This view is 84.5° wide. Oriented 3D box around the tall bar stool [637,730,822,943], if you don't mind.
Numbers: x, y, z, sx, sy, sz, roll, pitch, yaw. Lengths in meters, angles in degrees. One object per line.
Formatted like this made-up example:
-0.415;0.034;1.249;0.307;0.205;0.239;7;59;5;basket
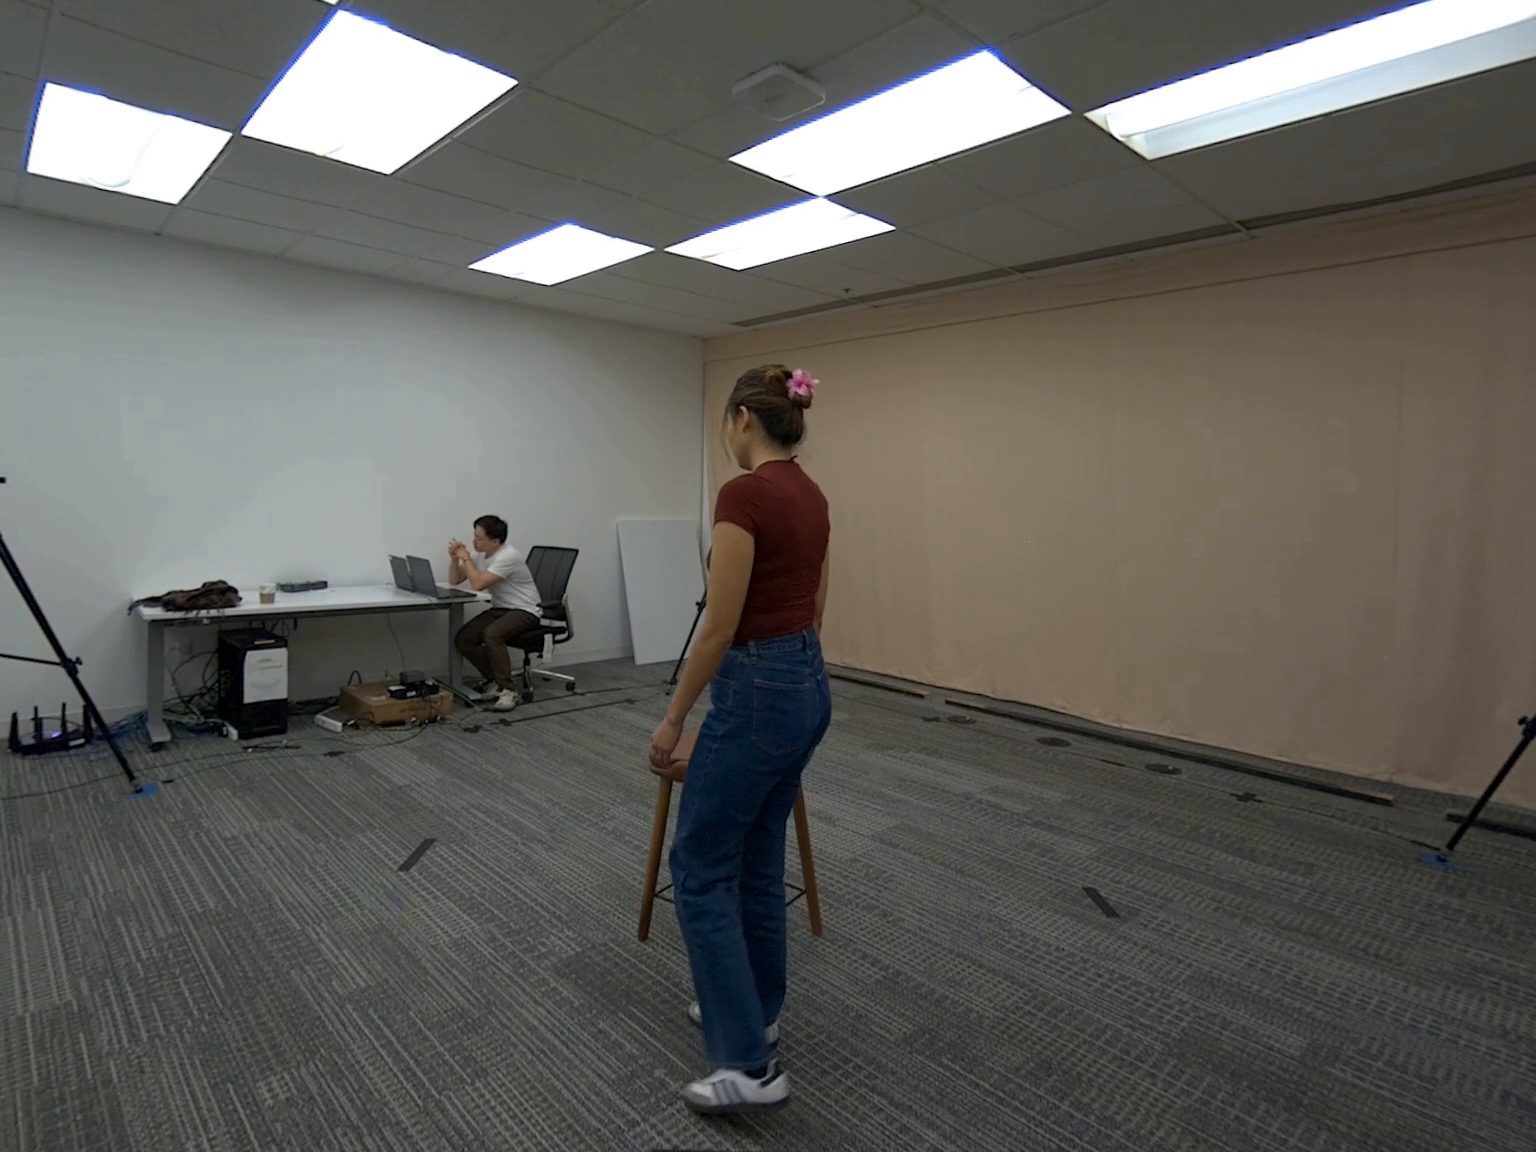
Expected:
-0.104;0.717;2.639;0.479;0.886;0.447;6;6;34;tall bar stool
